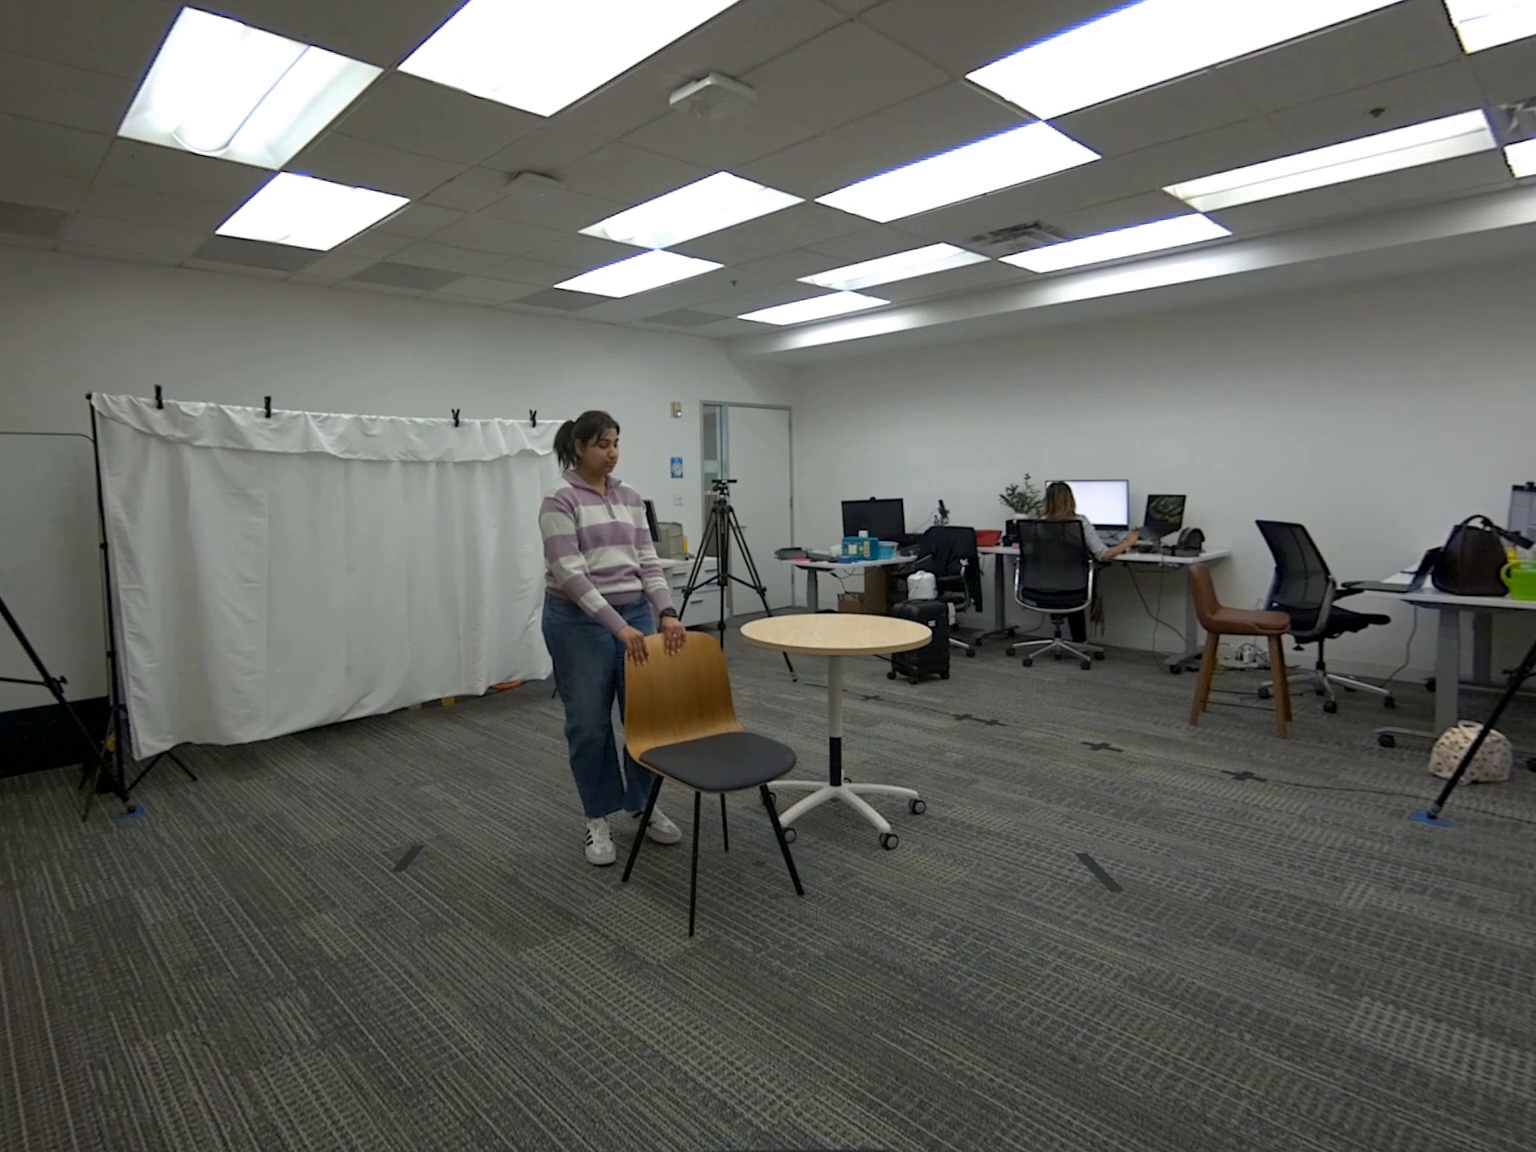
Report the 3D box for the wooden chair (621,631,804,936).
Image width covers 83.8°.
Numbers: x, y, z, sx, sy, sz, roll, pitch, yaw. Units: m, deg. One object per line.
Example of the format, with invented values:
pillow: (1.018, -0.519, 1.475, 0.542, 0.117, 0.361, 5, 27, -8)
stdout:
wooden chair: (-0.194, 0.648, 2.884, 0.466, 0.877, 0.537, -4, 0, -35)
